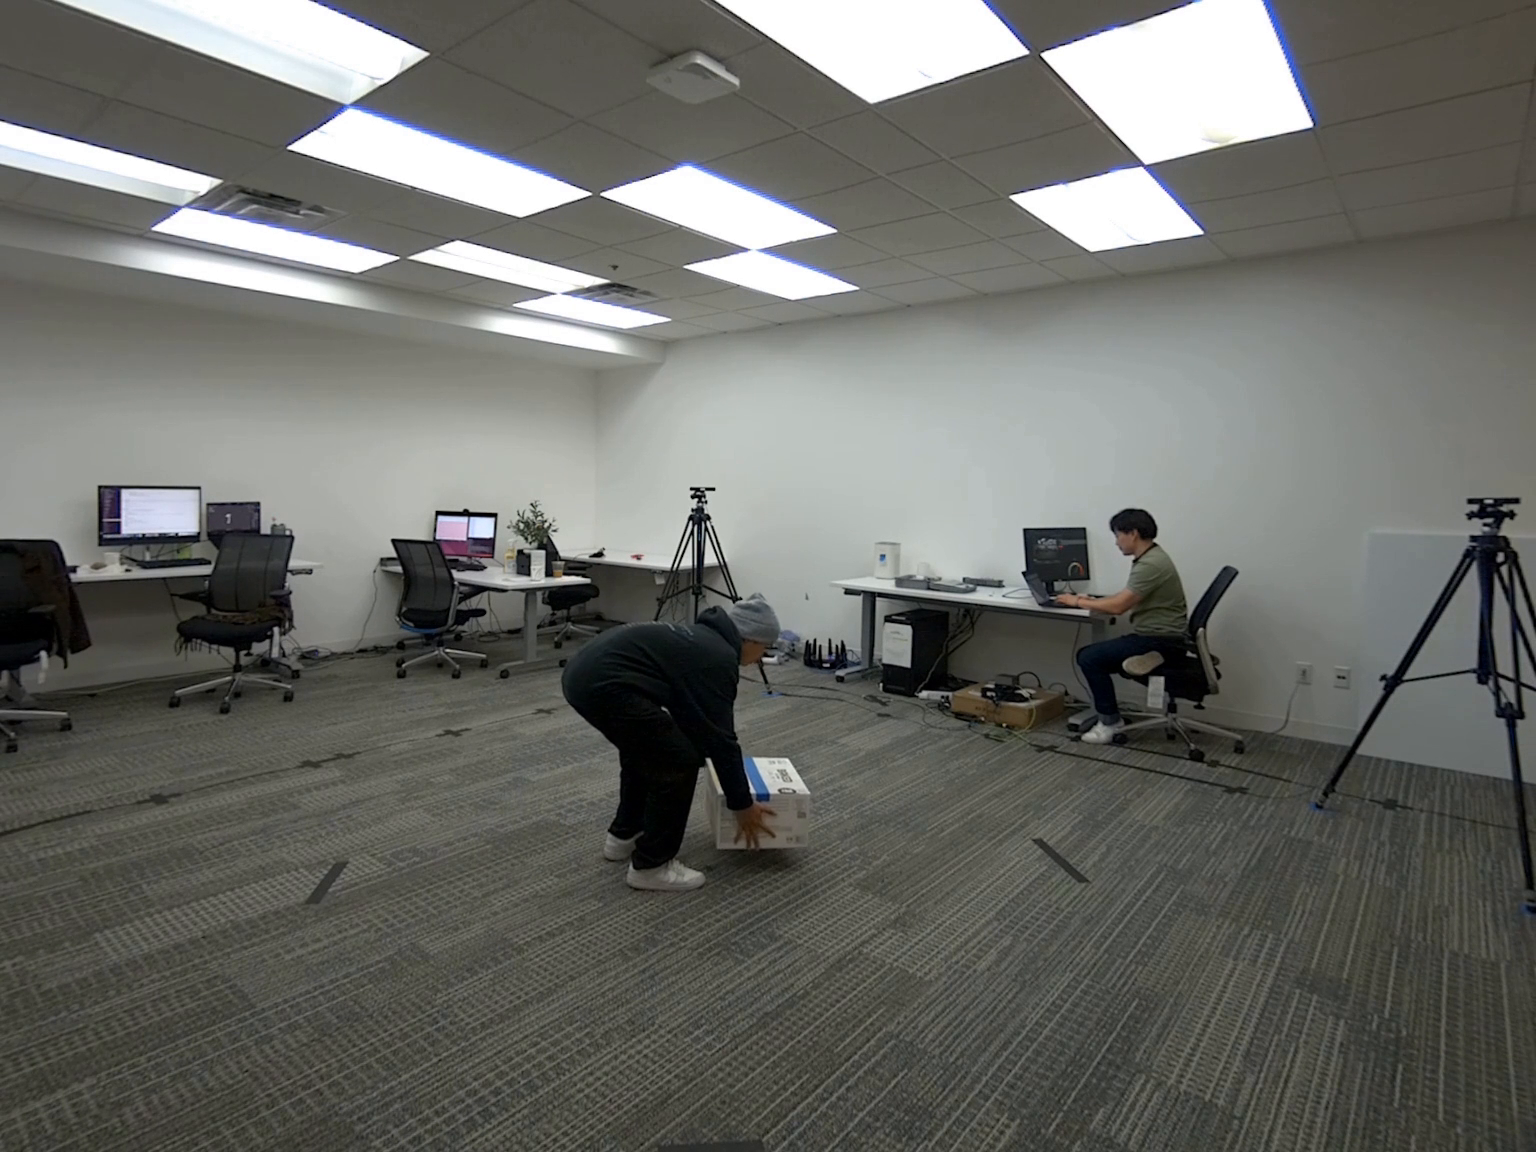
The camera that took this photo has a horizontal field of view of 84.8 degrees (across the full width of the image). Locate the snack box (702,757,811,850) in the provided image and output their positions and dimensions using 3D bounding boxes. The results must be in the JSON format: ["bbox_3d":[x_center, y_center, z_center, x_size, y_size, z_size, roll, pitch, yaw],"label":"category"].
[{"bbox_3d":[-0.058,0.858,3.262,0.337,0.205,0.411,1,6,-10],"label":"snack box"}]
